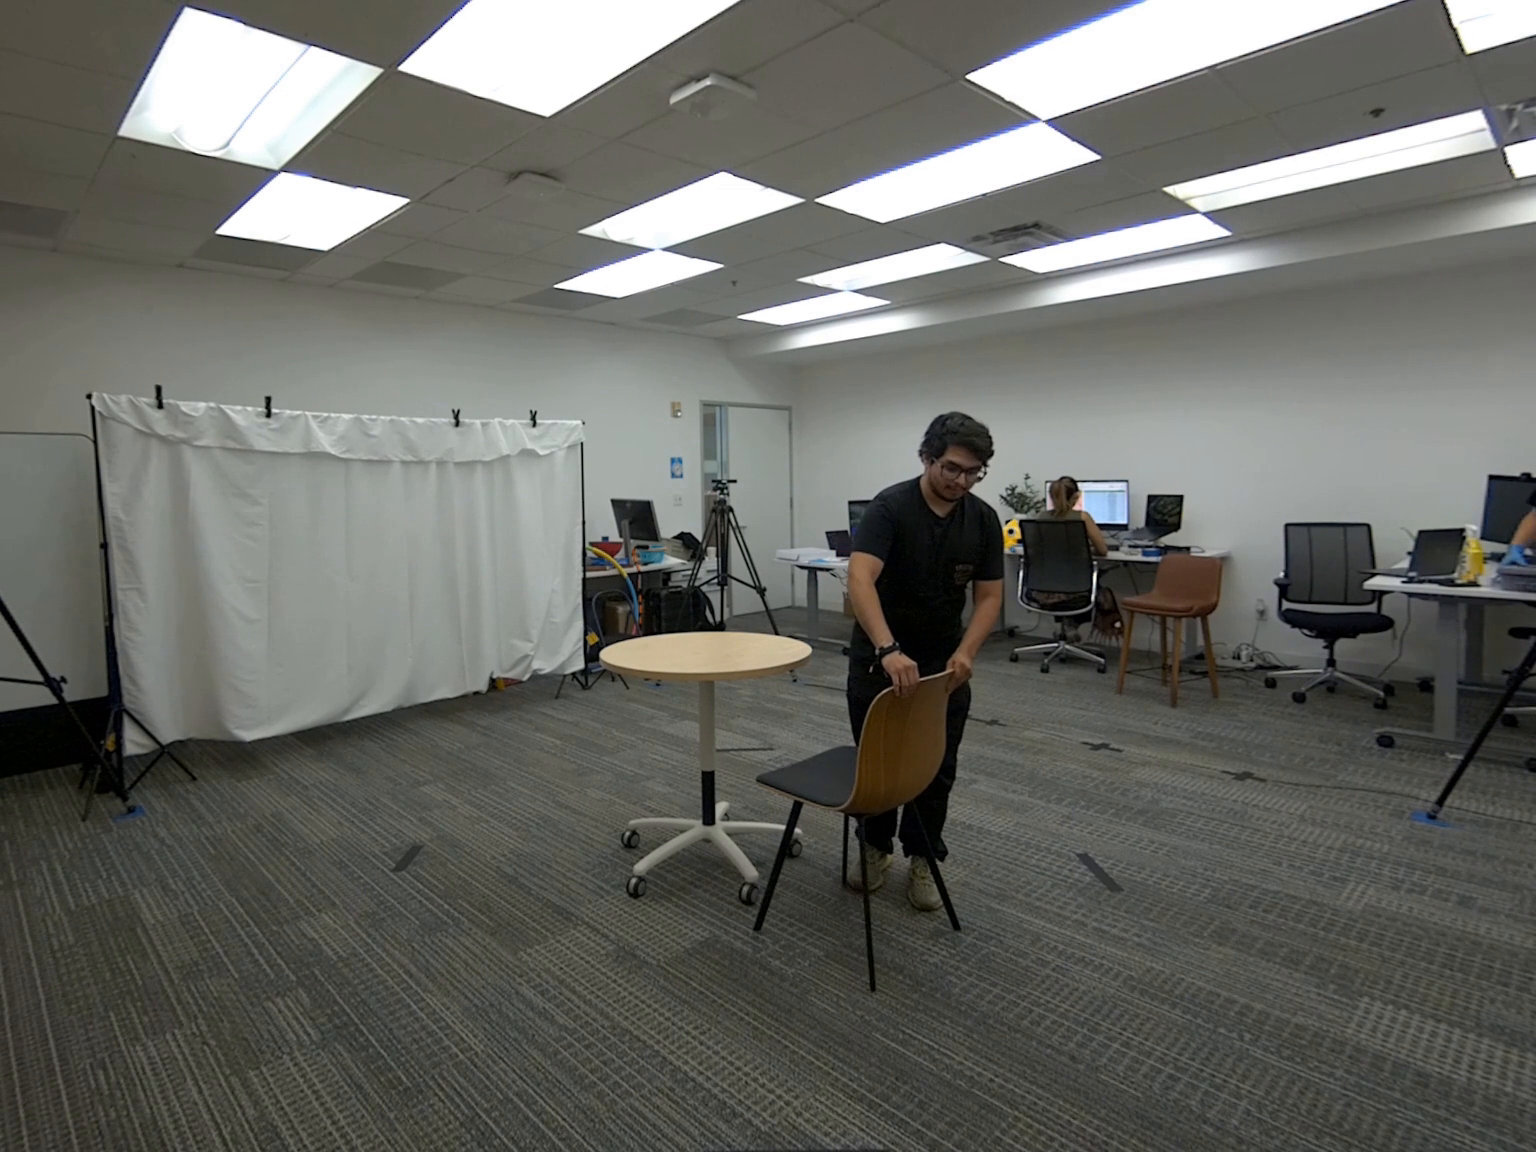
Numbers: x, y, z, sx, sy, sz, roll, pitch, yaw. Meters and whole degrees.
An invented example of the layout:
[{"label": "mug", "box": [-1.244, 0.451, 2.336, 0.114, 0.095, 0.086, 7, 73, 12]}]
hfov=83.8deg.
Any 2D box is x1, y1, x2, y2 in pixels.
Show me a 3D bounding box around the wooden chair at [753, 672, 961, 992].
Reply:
[{"label": "wooden chair", "box": [0.264, 0.670, 2.601, 0.540, 0.872, 0.465, 10, 11, 44]}]
